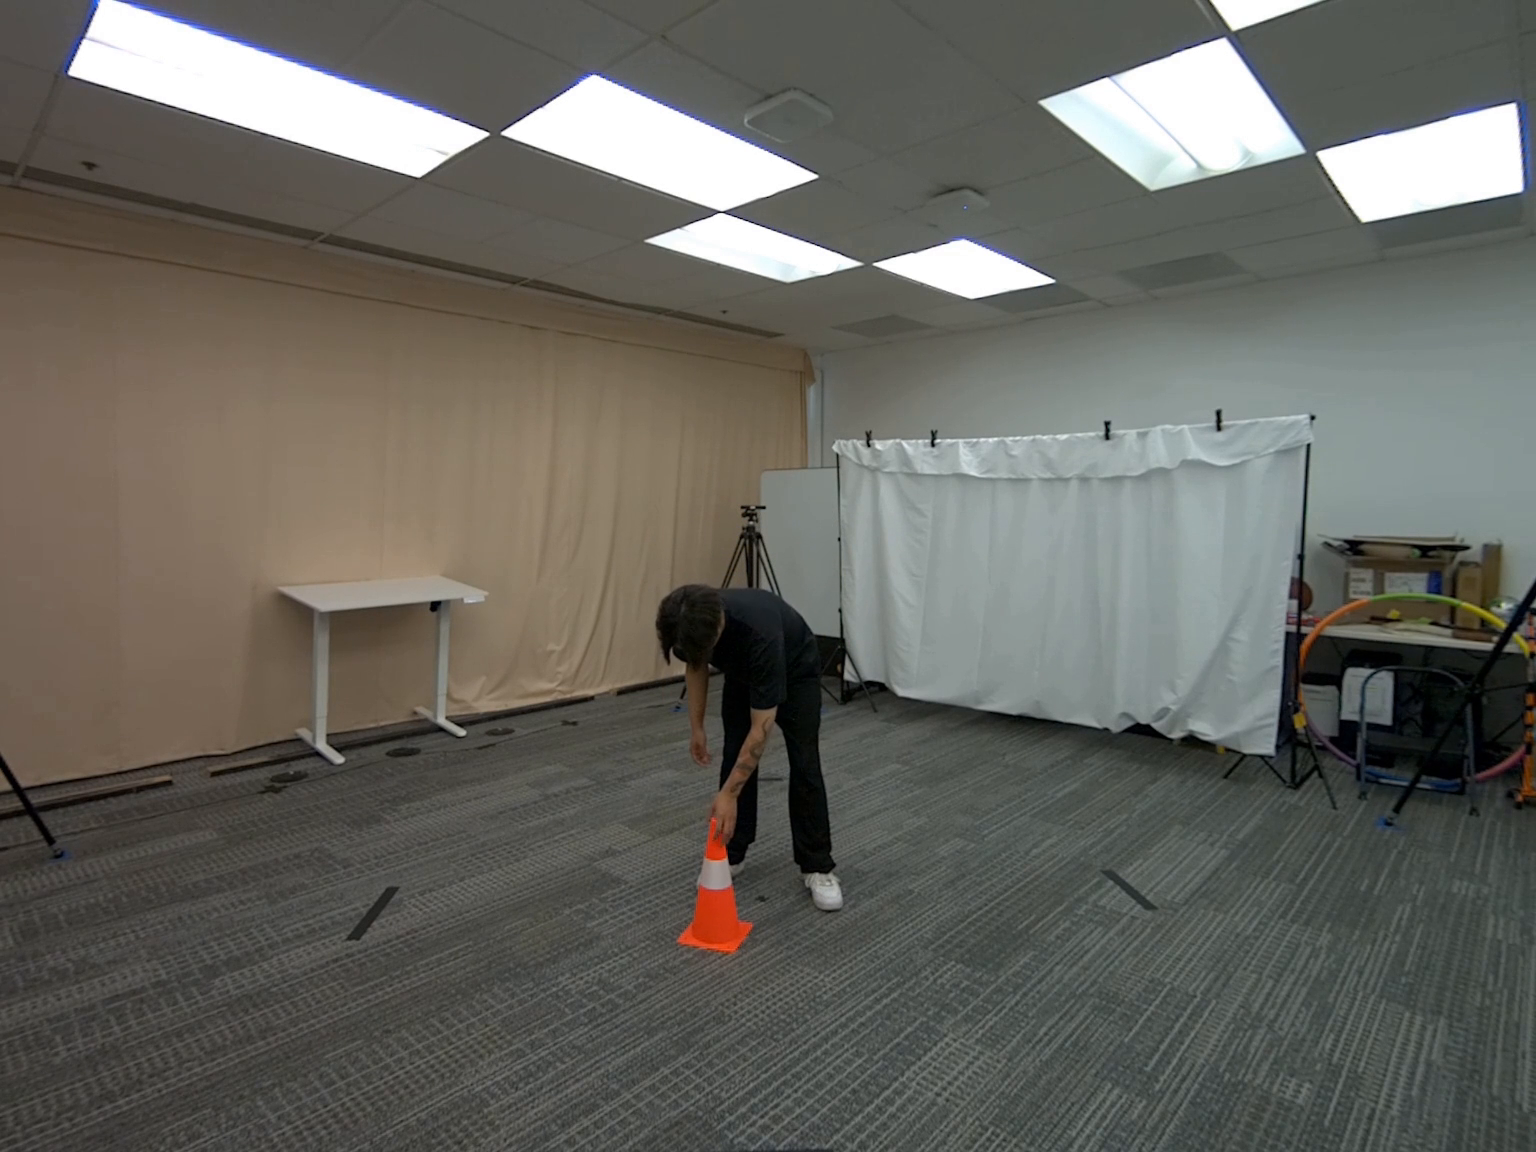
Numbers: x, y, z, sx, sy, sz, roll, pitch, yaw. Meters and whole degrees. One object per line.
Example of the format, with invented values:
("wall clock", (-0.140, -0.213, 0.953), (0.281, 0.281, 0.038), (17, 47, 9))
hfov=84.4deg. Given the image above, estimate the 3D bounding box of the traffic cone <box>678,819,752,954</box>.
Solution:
("traffic cone", (-0.175, 0.977, 2.739), (0.209, 0.383, 0.199), (-1, 2, 21))
